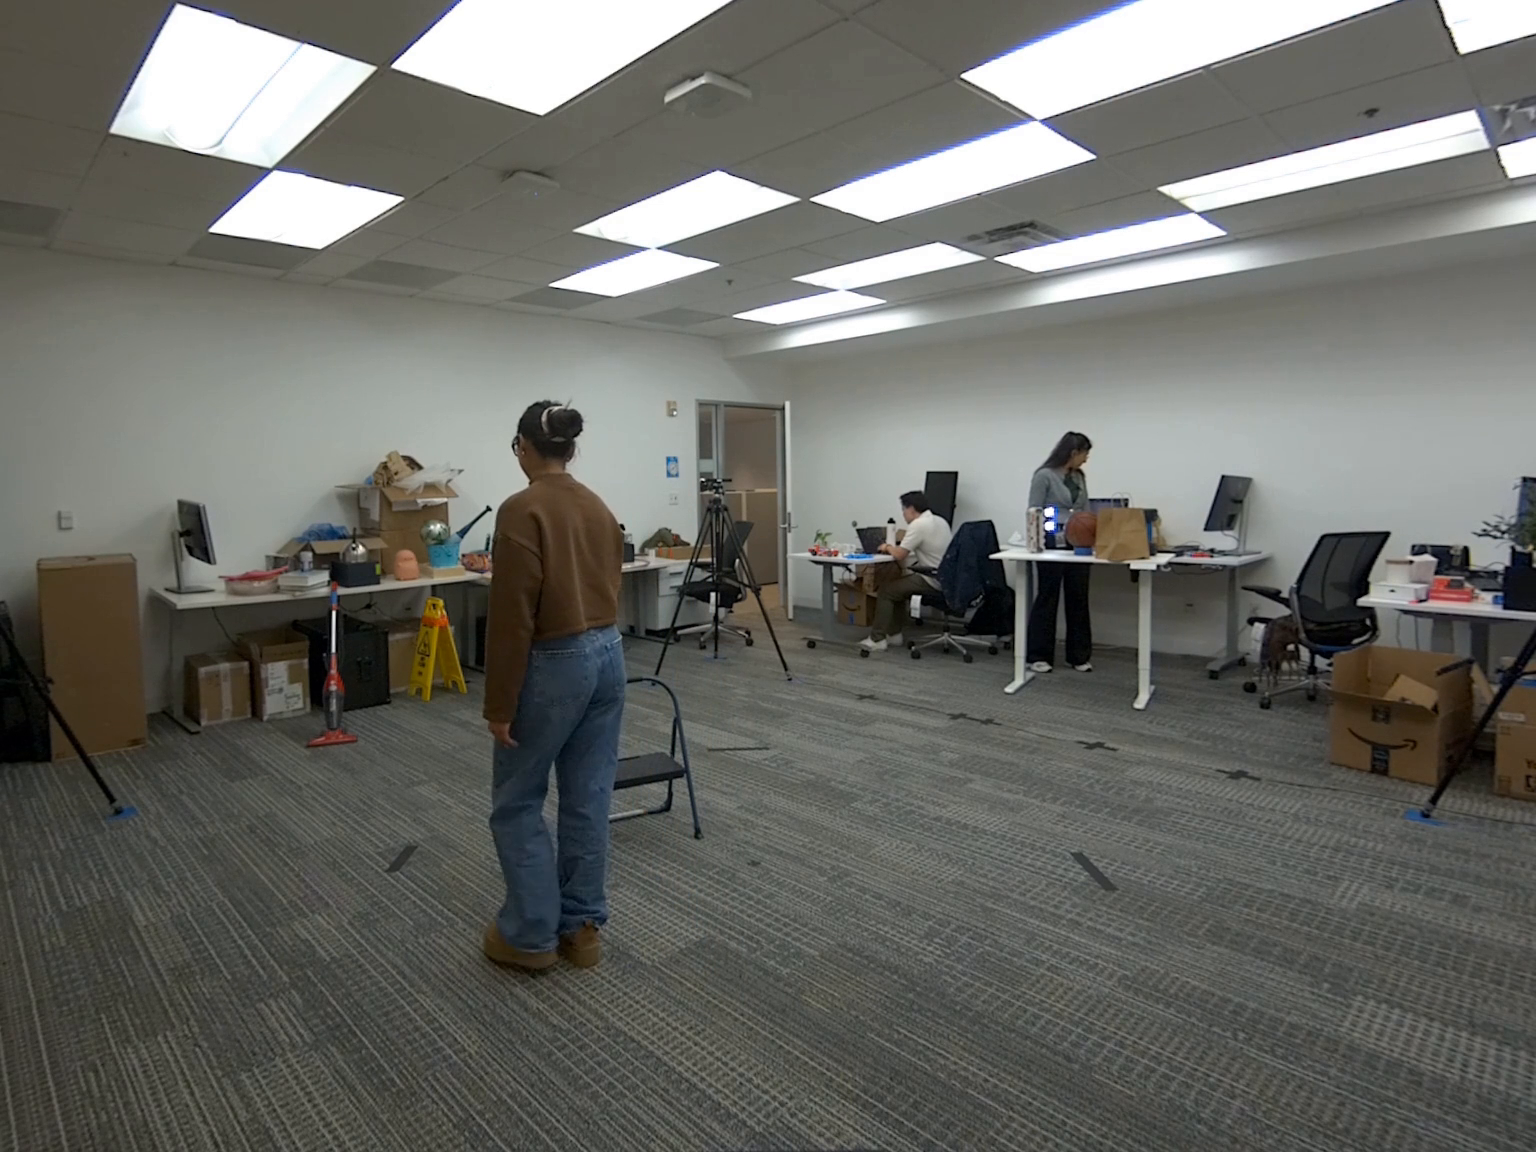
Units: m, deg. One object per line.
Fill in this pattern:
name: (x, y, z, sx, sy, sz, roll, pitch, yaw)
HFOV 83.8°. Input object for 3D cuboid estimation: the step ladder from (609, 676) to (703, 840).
step ladder: (-0.523, 0.718, 3.387, 0.421, 0.604, 0.358, -3, 4, -28)
